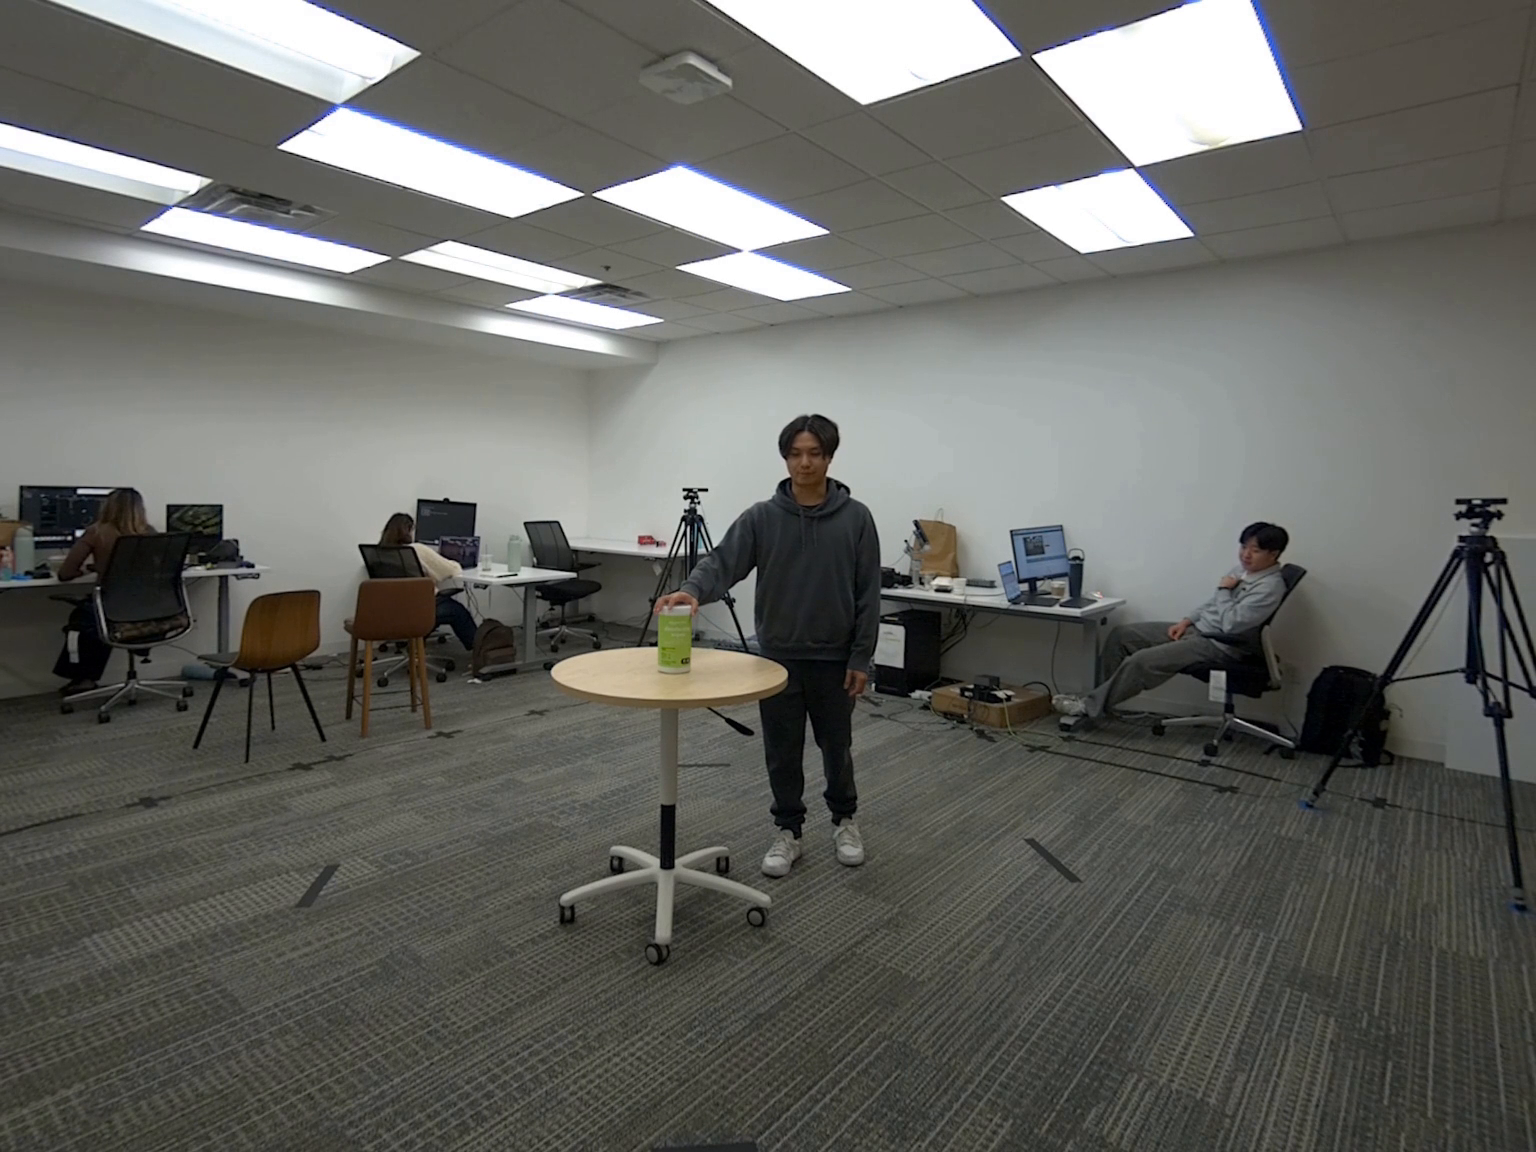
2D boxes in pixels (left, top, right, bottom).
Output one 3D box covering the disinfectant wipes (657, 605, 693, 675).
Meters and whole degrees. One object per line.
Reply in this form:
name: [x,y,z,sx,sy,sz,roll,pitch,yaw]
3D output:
disinfectant wipes: [-0.314,0.200,2.754,0.117,0.217,0.118,2,3,-2]
